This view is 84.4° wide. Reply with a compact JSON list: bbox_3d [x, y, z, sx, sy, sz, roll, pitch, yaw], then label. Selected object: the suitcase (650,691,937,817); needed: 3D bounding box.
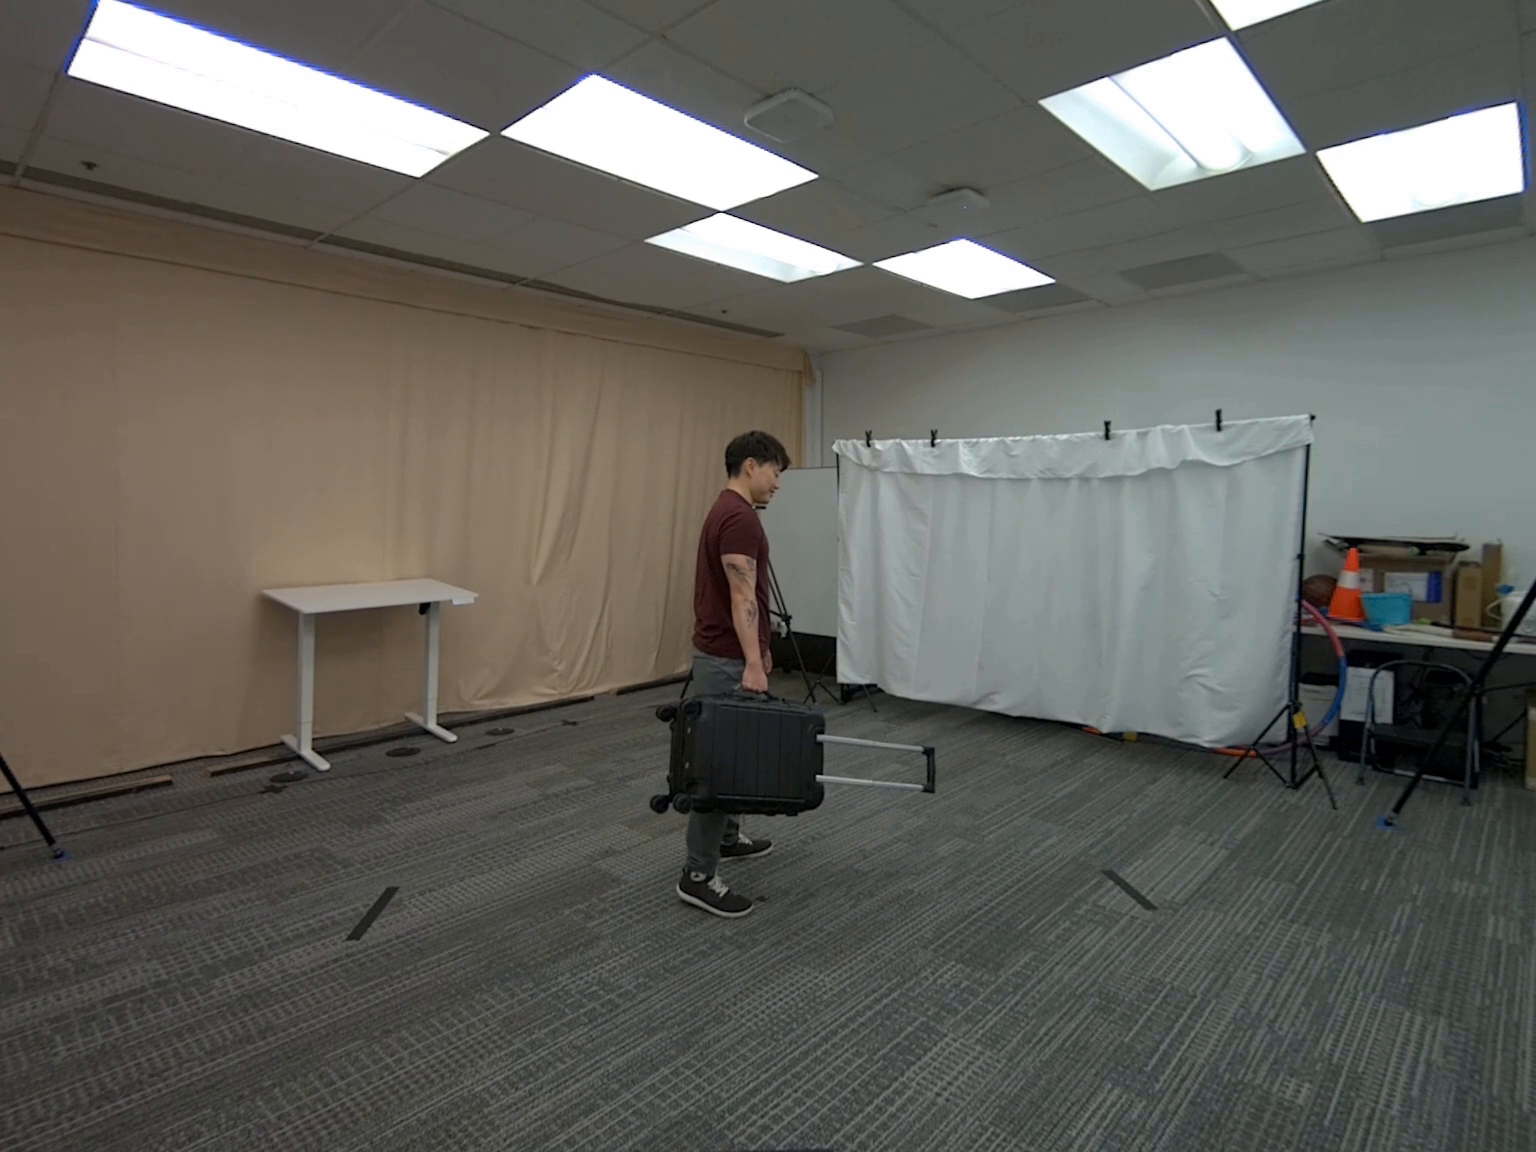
[{"bbox_3d":[0.108,0.623,2.874,0.953,0.387,0.261,10,-17,-25],"label":"suitcase"}]
